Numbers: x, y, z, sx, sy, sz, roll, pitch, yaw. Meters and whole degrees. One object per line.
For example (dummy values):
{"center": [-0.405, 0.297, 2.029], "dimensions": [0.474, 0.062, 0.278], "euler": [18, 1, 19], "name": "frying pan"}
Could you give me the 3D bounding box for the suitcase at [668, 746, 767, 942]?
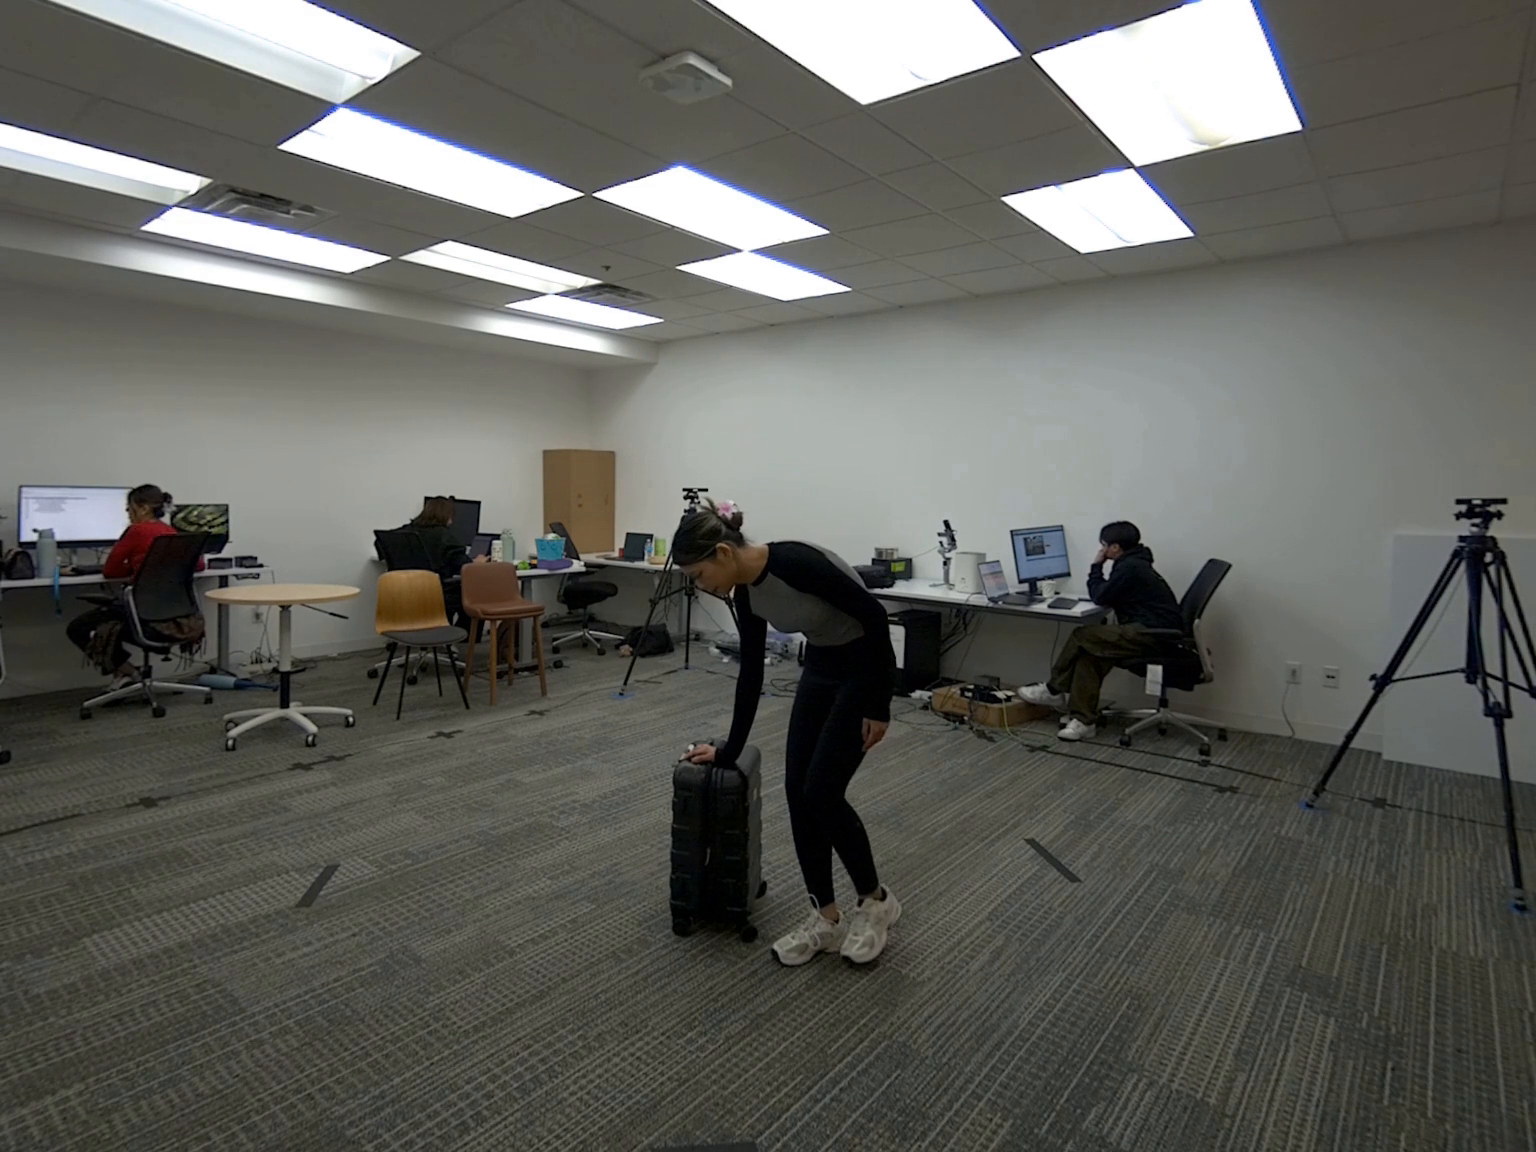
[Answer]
{"center": [-0.168, 0.828, 2.771], "dimensions": [0.251, 0.548, 0.373], "euler": [0, 3, 8], "name": "suitcase"}
